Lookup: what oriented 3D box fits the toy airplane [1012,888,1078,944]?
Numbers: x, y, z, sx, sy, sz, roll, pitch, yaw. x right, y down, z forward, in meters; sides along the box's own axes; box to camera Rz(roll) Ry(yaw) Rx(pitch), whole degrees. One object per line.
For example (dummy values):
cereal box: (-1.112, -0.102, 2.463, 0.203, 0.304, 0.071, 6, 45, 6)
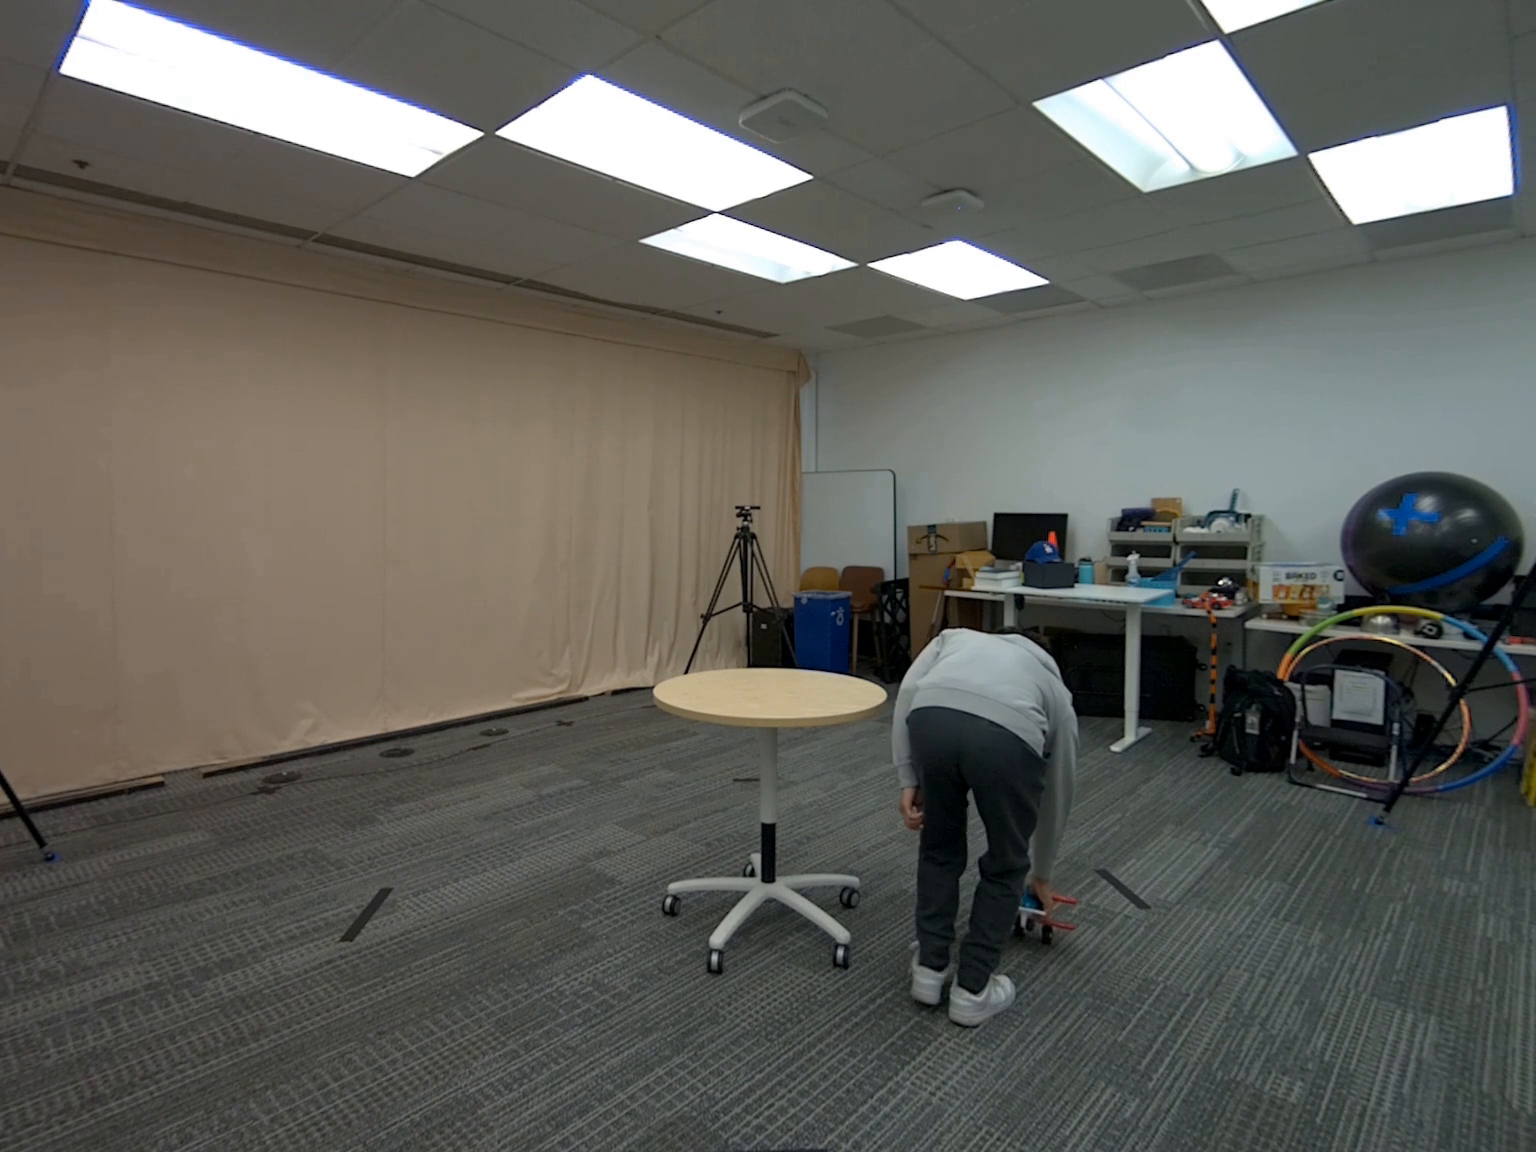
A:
toy airplane: (0.860, 1.062, 2.649, 0.253, 0.157, 0.256, 17, -27, 4)
